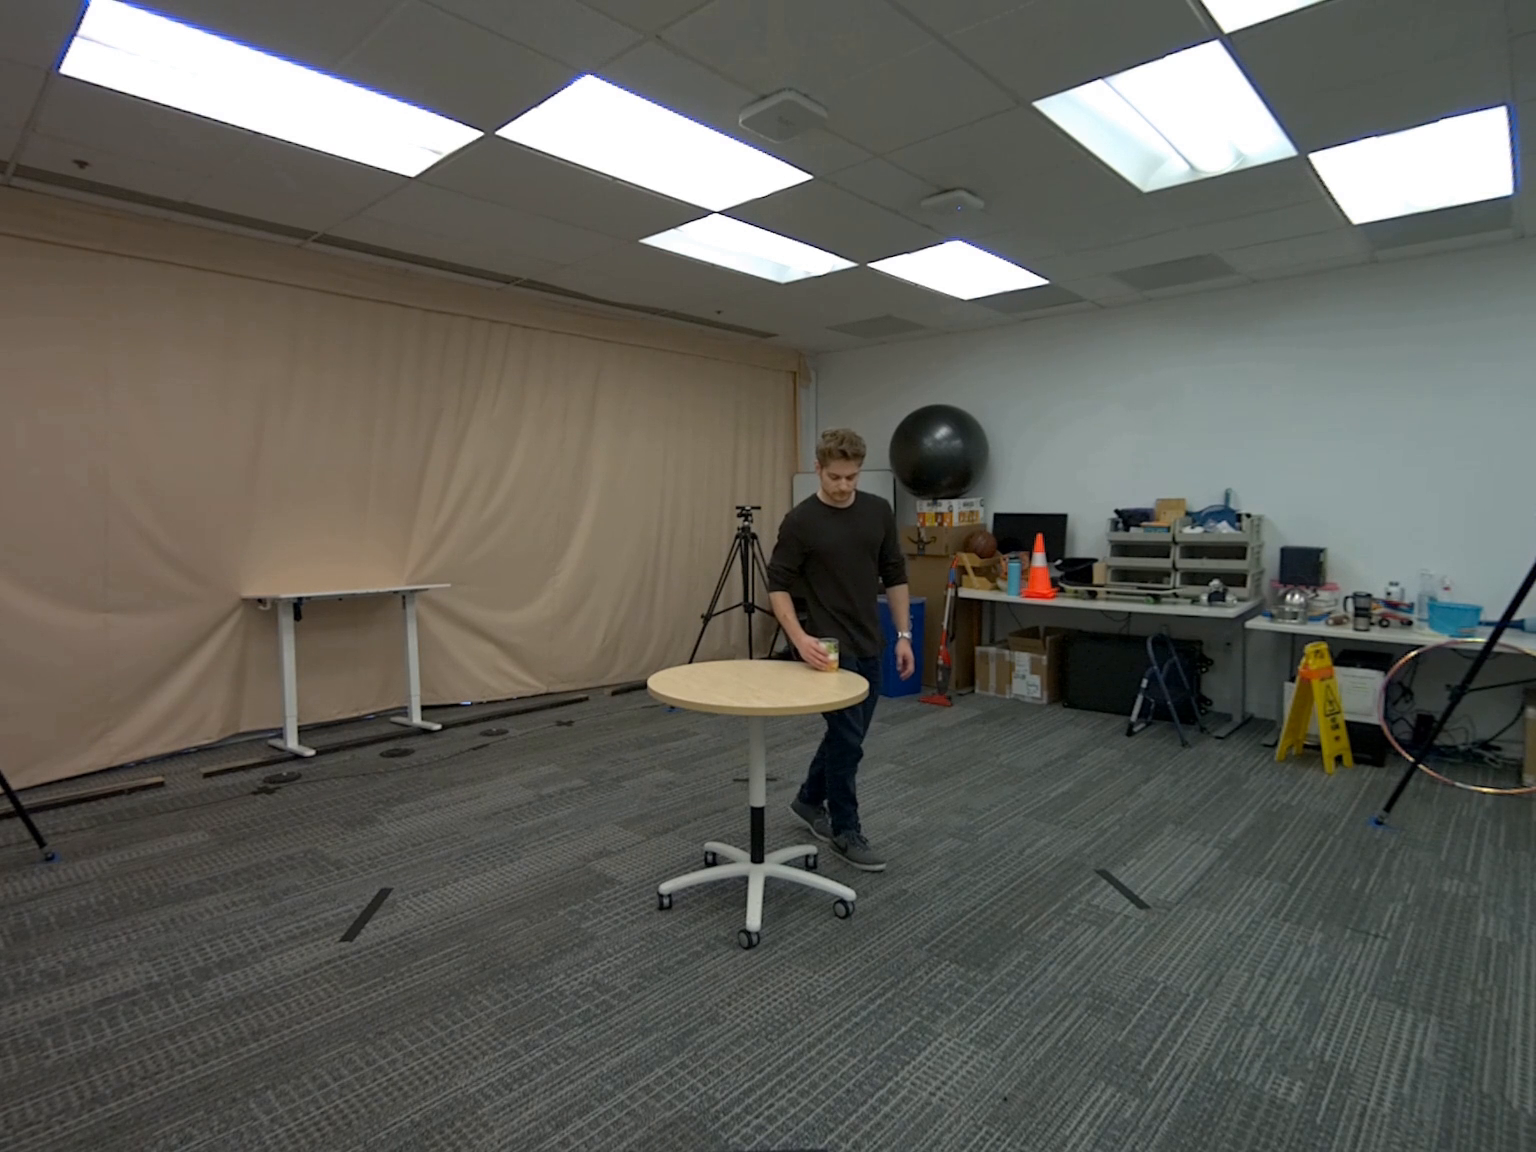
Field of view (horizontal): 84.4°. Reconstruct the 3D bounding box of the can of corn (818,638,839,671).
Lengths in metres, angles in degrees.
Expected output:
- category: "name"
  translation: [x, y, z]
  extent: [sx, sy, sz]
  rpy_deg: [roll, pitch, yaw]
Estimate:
- category: "can of corn"
  translation: [0.222, 0.291, 3.105]
  extent: [0.074, 0.111, 0.074]
  rpy_deg: [-1, 3, -2]
